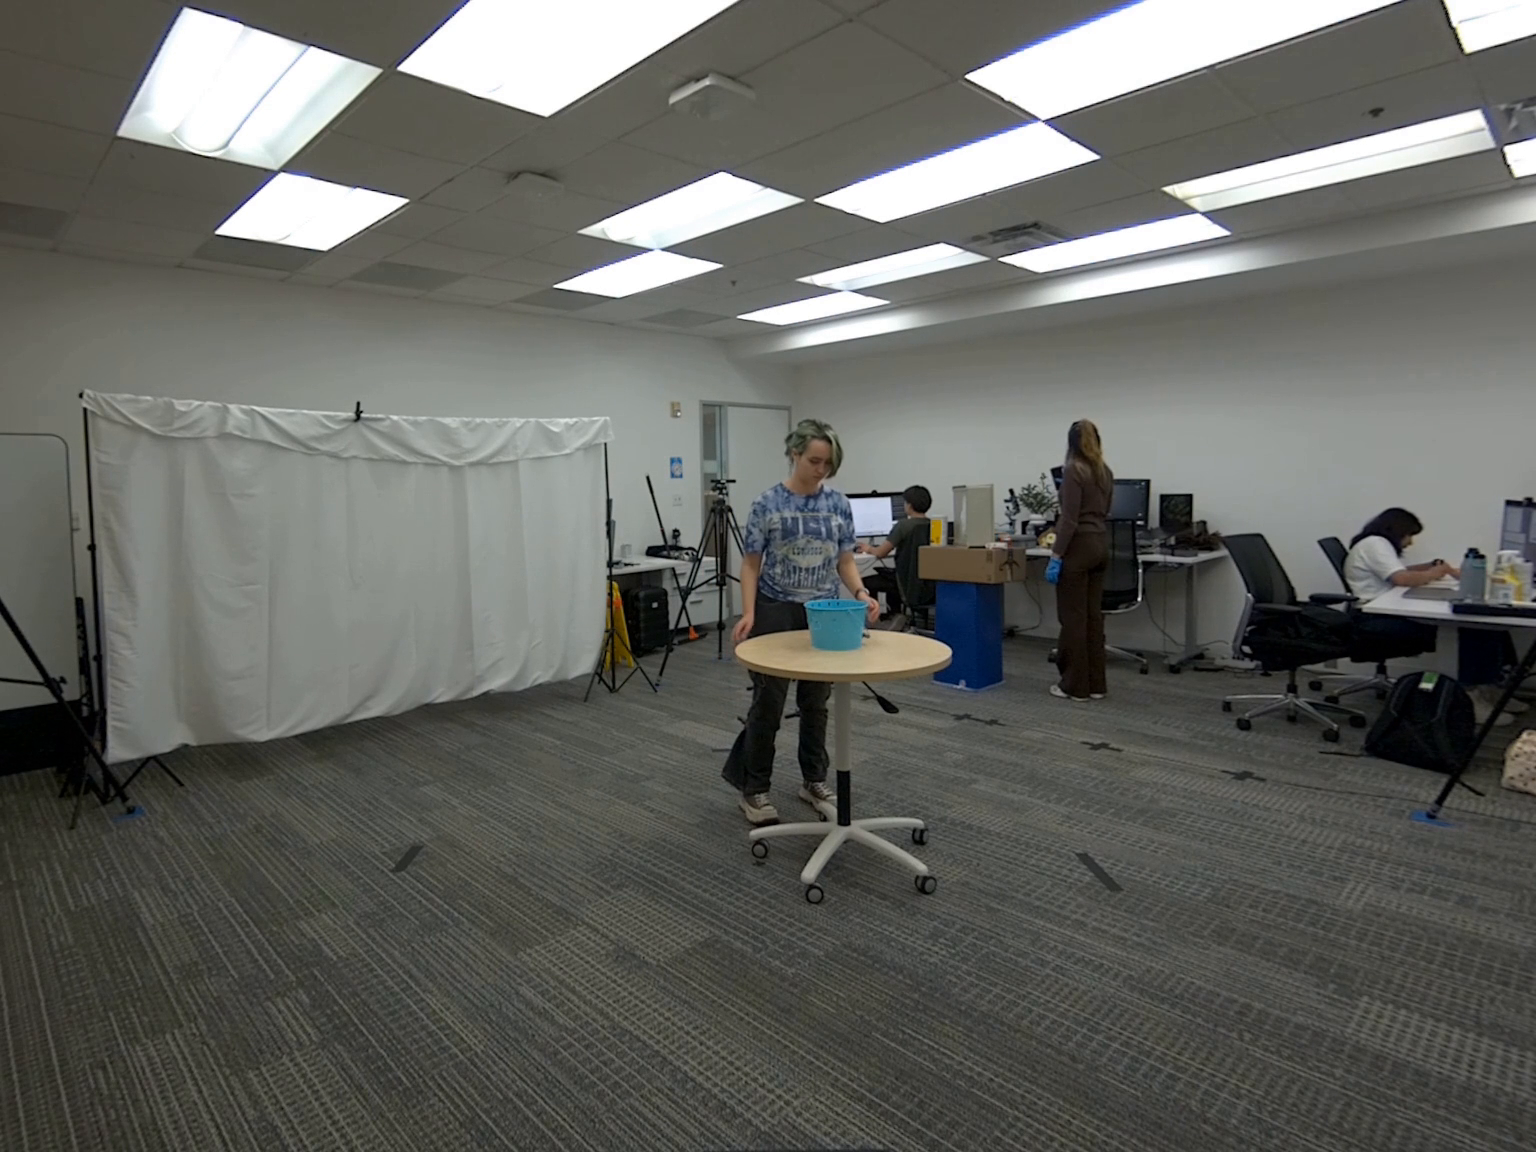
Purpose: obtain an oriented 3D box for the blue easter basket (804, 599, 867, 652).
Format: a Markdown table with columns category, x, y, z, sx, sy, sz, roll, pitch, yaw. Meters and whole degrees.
| category | x | y | z | sx | sy | sz | roll | pitch | yaw |
| --- | --- | --- | --- | --- | --- | --- | --- | --- | --- |
| blue easter basket | 0.263 | 0.184 | 3.118 | 0.243 | 0.155 | 0.245 | -2 | 6 | -1 |
